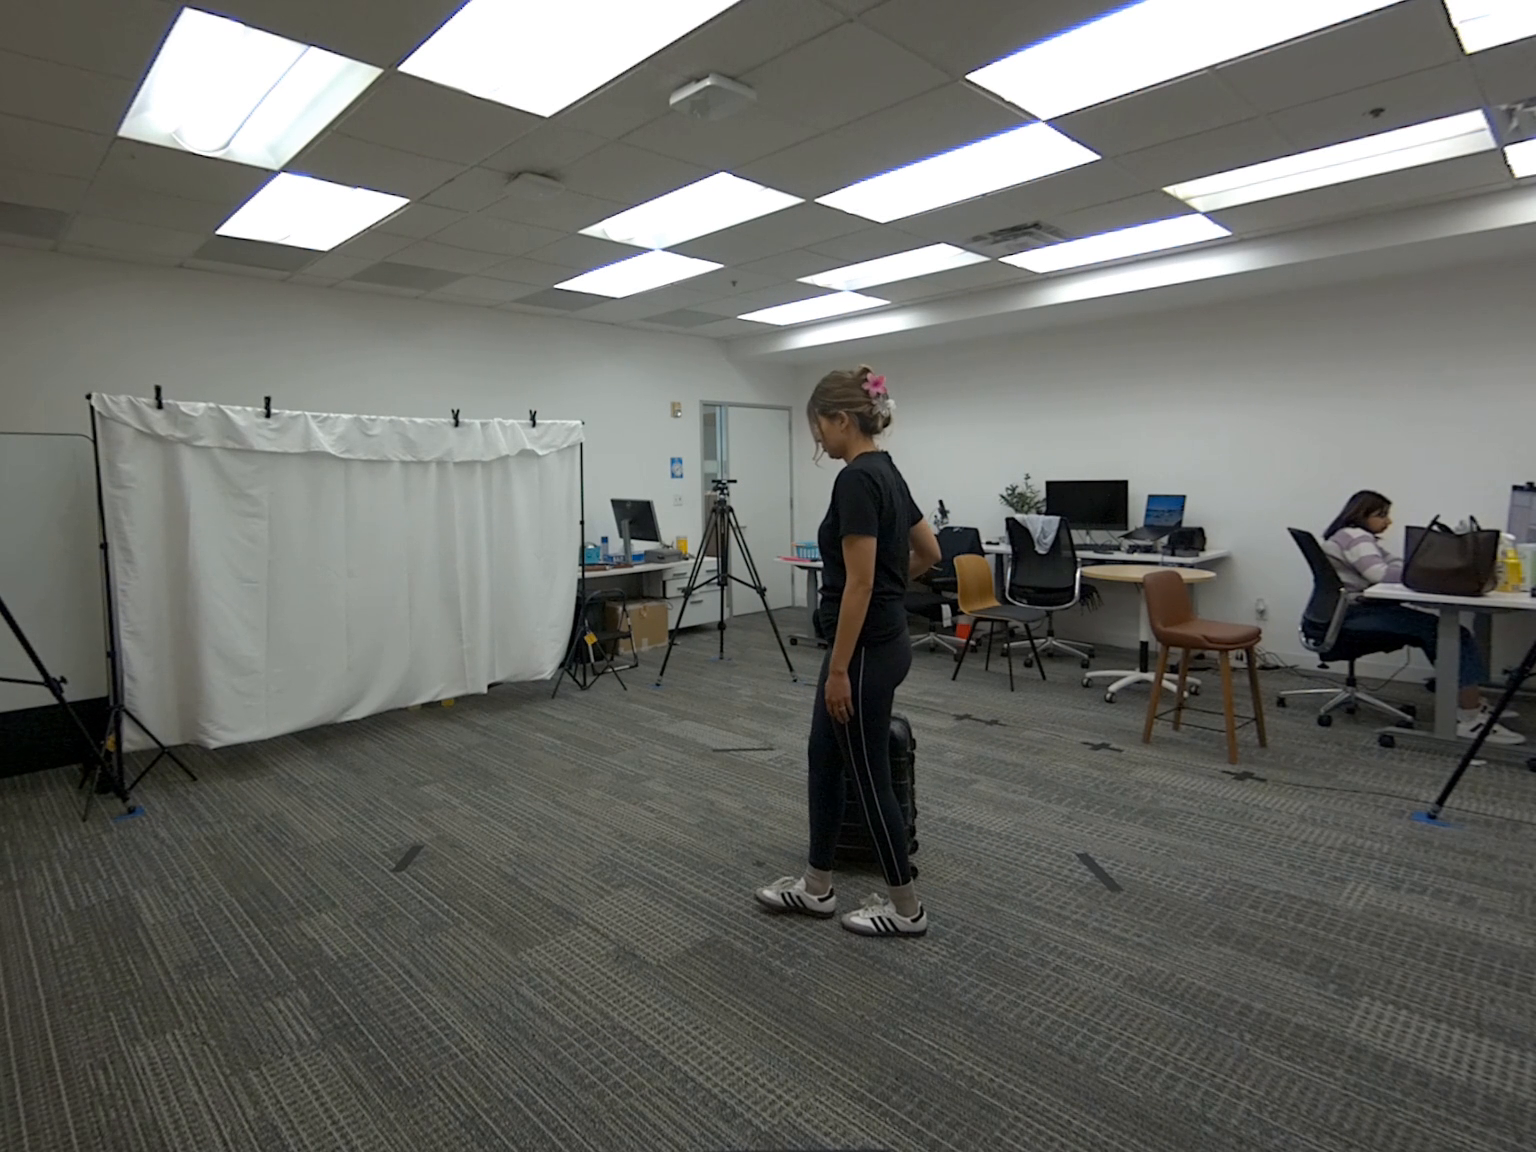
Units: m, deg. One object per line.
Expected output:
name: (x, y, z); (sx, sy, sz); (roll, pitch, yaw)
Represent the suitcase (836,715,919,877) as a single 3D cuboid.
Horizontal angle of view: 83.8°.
suitcase: (0.346, 0.567, 3.087); (0.388, 0.977, 0.254); (-1, 2, 12)
